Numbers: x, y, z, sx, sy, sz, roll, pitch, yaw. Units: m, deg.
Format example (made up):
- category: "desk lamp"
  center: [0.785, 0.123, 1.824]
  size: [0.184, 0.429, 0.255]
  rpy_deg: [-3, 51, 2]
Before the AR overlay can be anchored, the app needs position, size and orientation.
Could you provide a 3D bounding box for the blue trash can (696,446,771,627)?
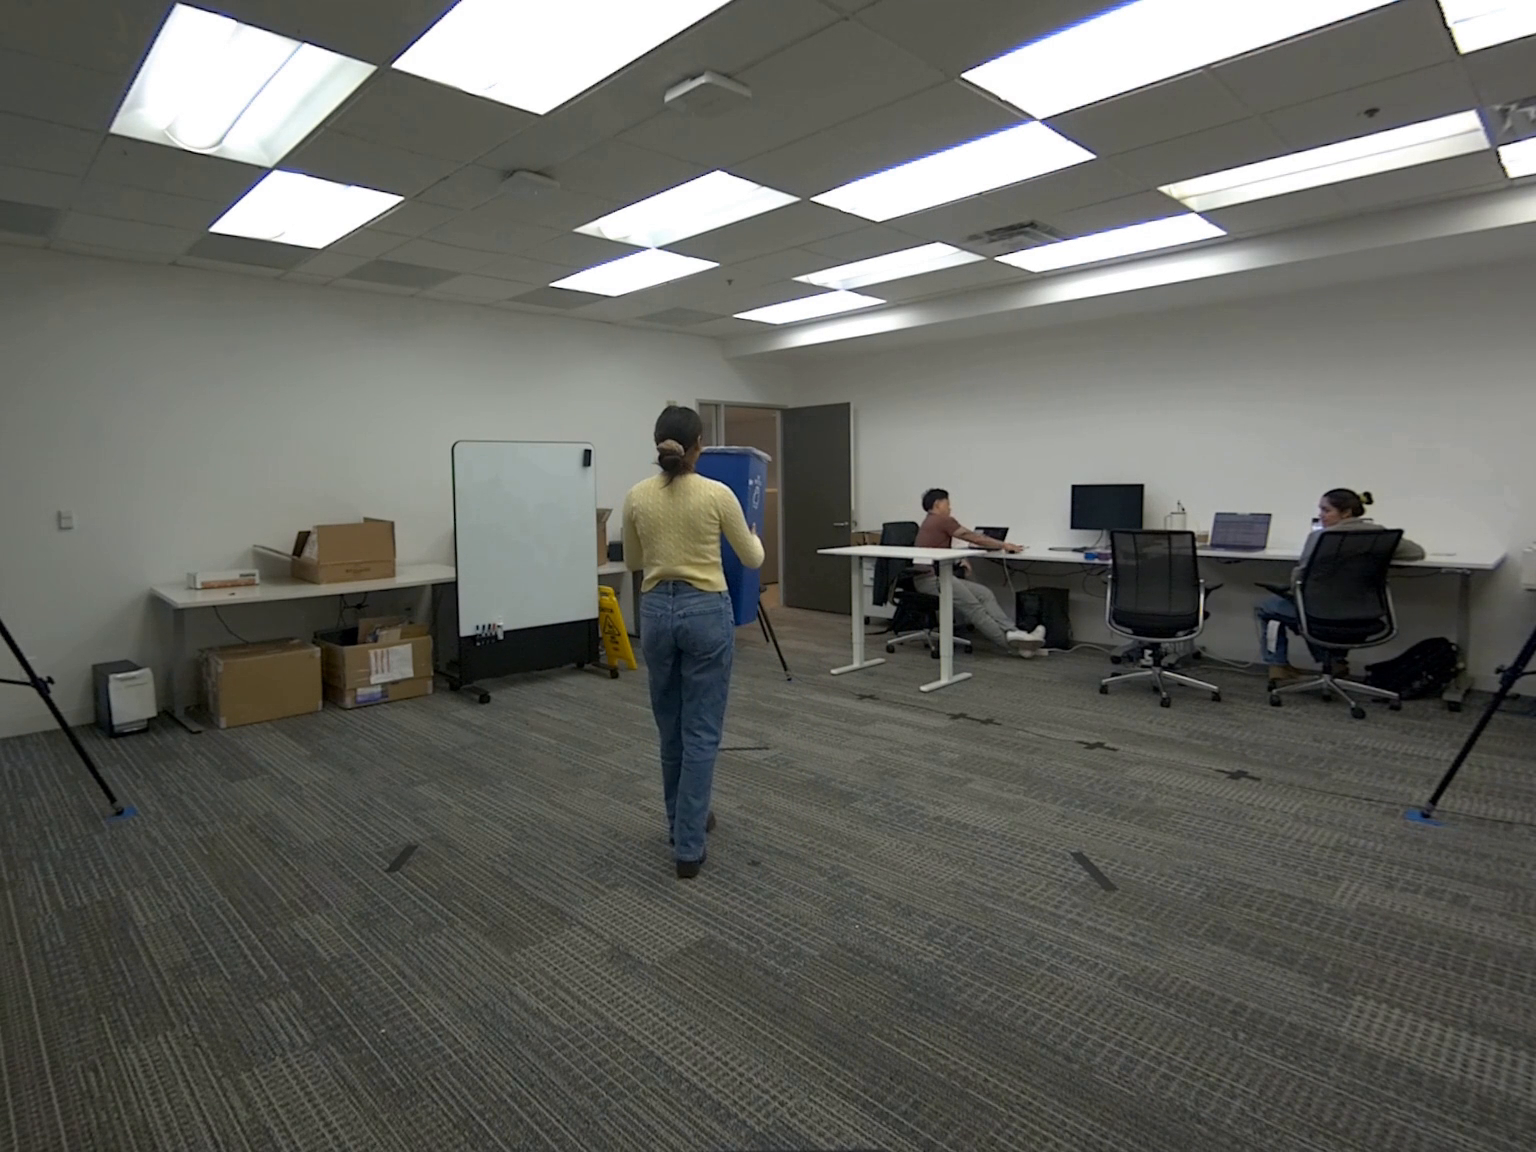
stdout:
- category: "blue trash can"
  center: [-0.215, -0.172, 3.602]
  size: [0.383, 0.713, 0.369]
  rpy_deg: [2, 1, 13]
